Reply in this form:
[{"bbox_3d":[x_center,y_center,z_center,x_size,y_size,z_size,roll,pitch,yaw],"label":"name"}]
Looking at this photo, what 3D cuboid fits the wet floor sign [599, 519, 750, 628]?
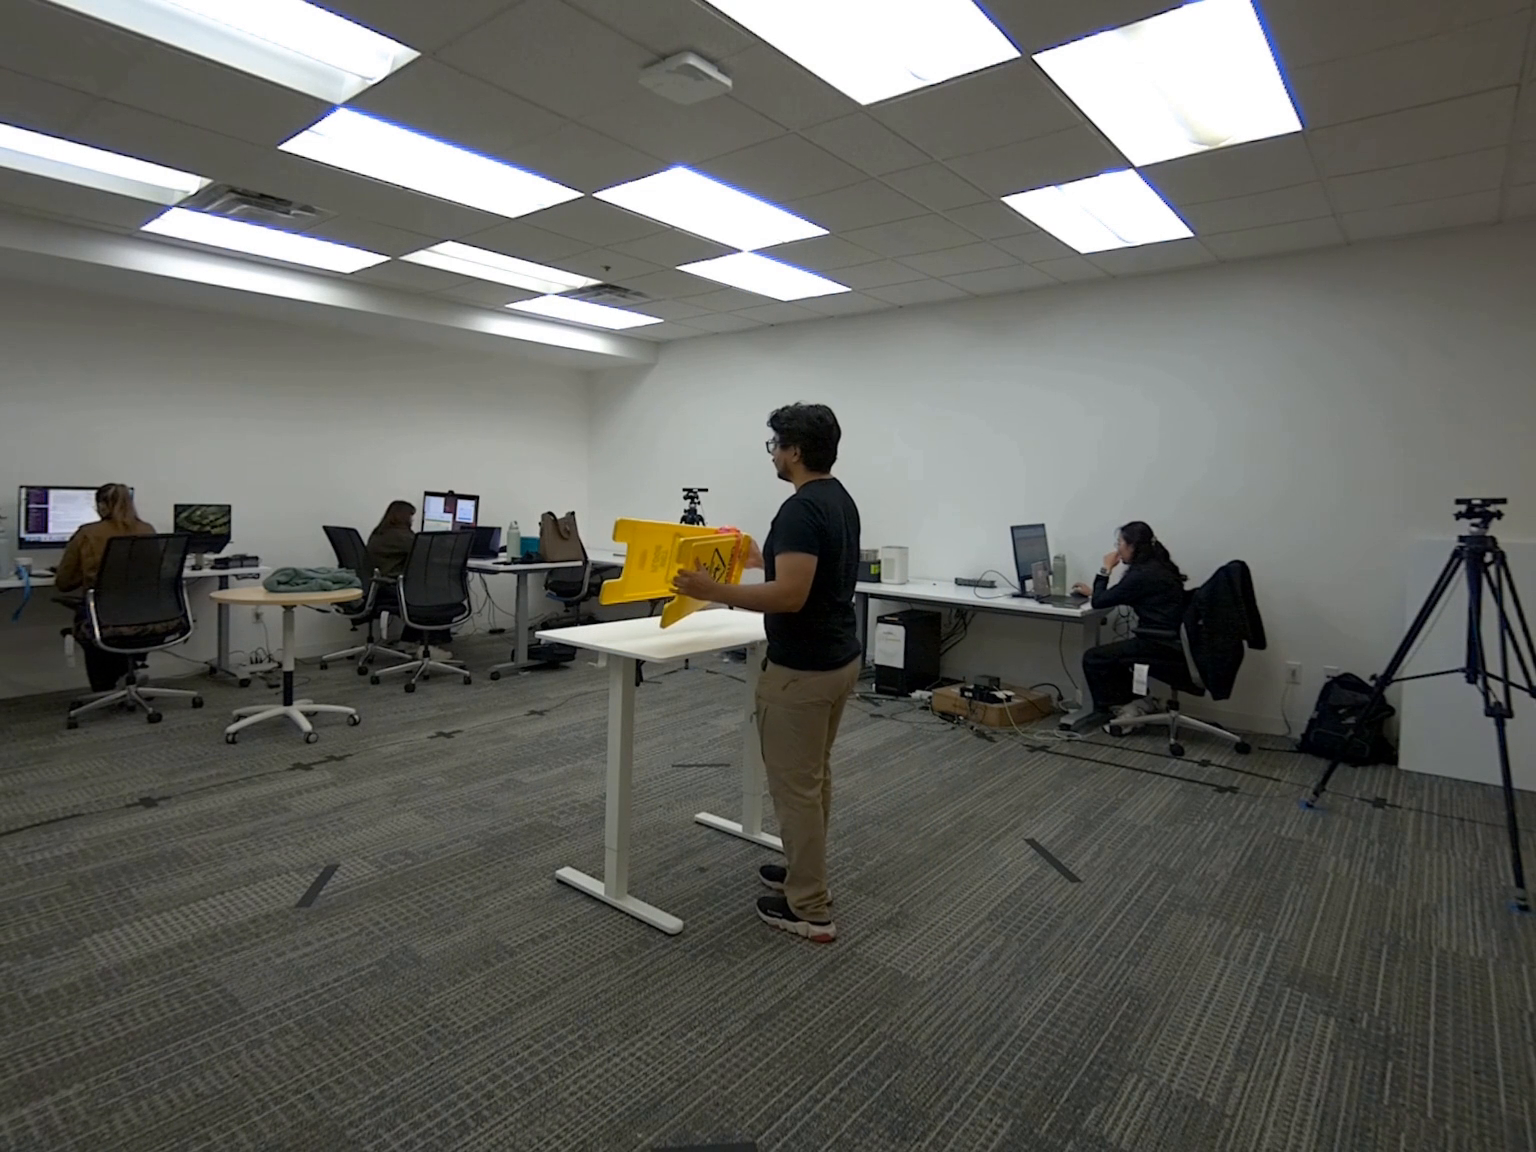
[{"bbox_3d":[-0.249,-0.035,2.844,0.299,0.280,0.631,17,13,25],"label":"wet floor sign"}]
